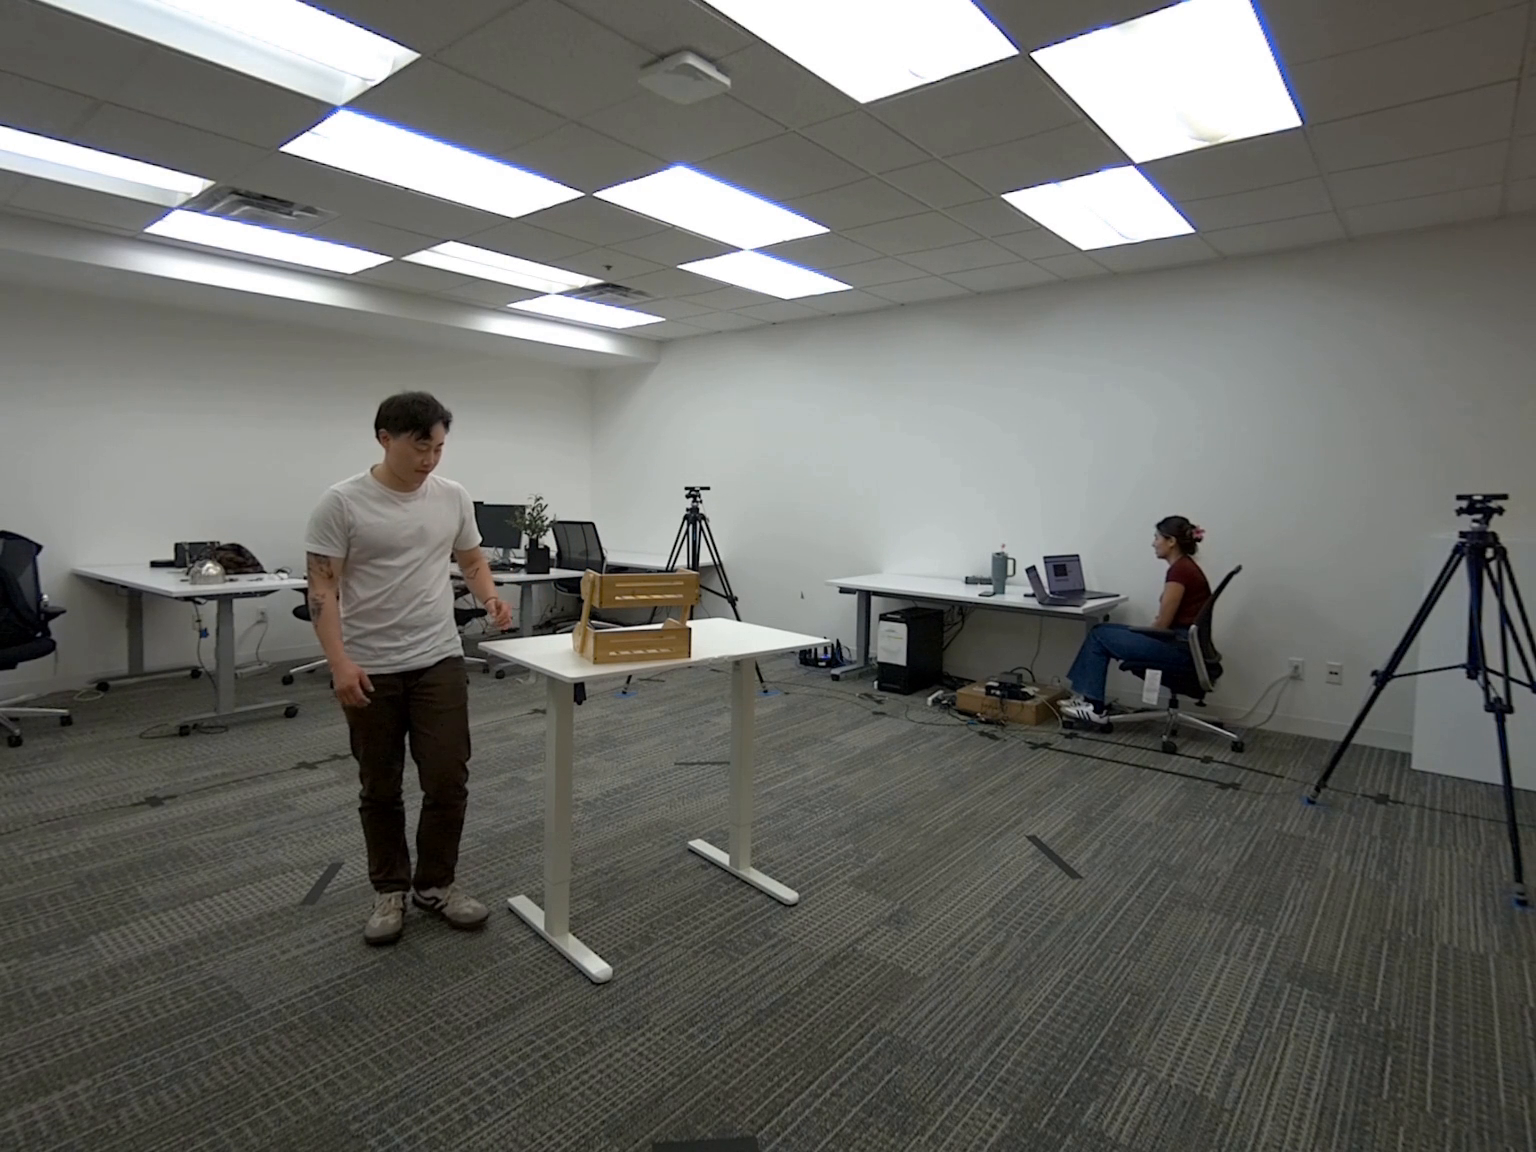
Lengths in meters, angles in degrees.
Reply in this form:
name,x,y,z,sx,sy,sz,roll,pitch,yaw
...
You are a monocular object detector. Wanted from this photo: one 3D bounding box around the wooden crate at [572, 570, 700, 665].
name,x,y,z,sx,sy,sz,roll,pitch,yaw
wooden crate,-0.423,0.110,2.557,0.317,0.272,0.310,-2,6,-26
